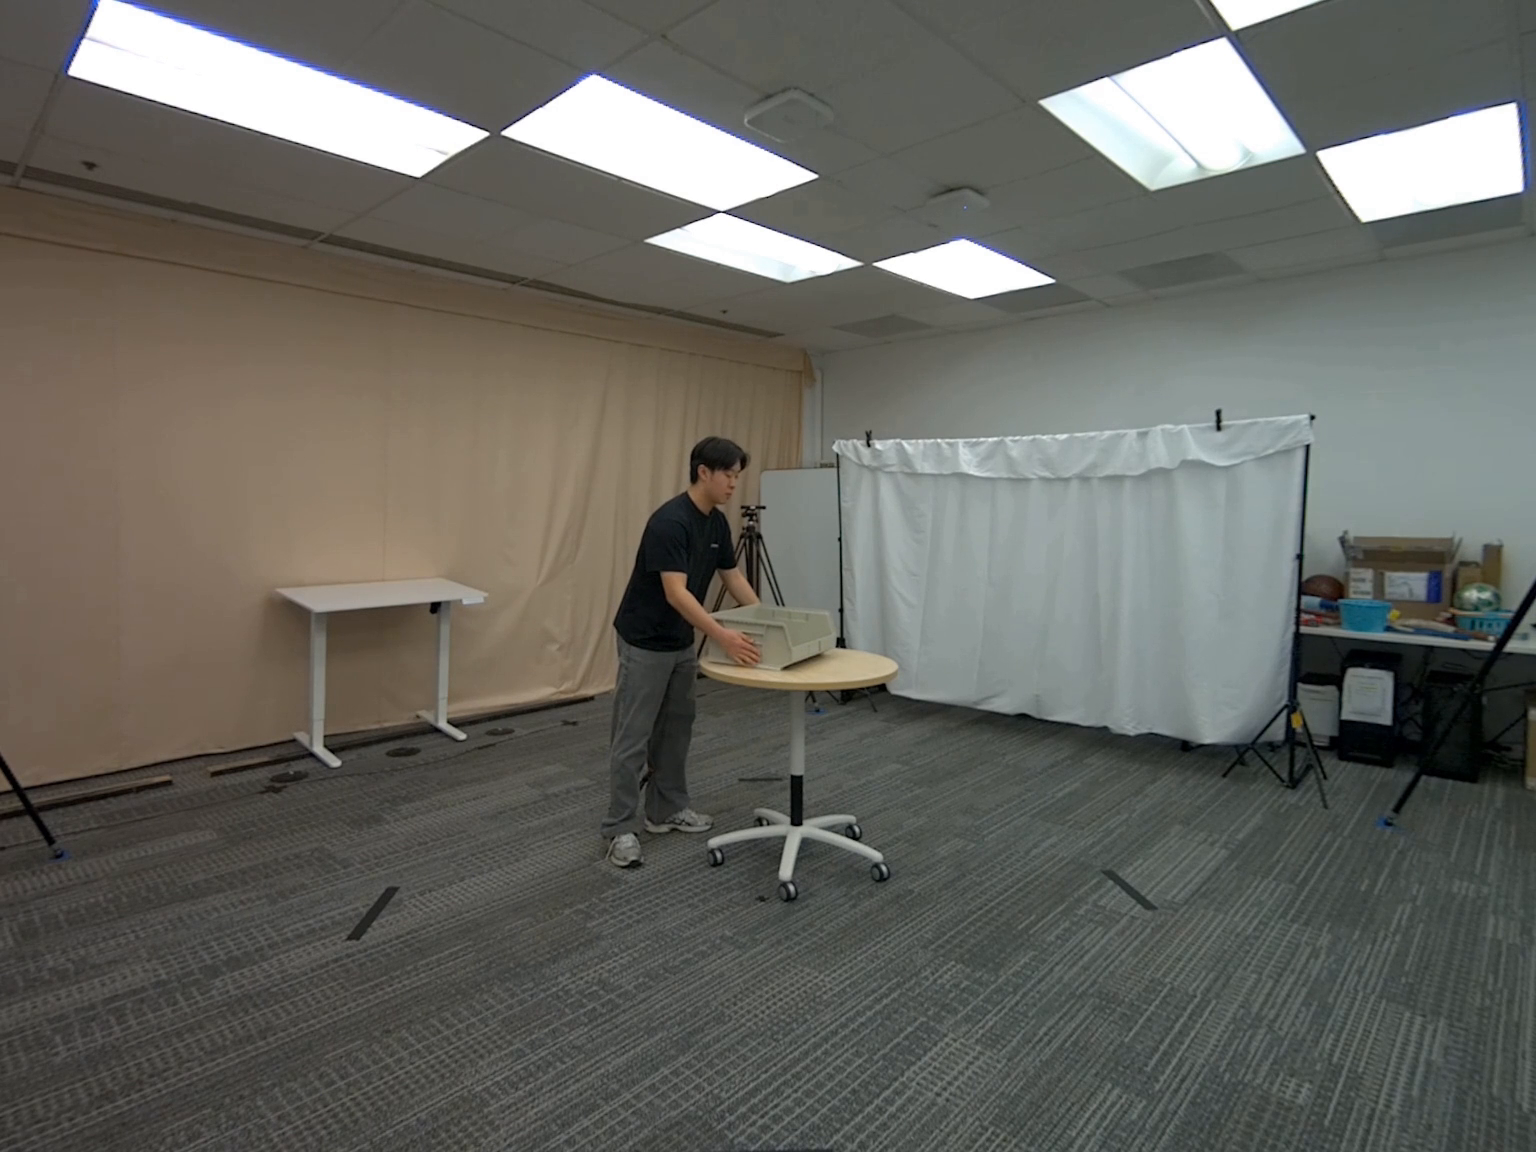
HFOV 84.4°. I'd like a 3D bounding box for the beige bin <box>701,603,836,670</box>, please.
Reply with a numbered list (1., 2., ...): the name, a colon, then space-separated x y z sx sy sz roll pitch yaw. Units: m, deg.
1. beige bin: 0.021 0.236 3.330 0.388 0.188 0.412 3 6 29
